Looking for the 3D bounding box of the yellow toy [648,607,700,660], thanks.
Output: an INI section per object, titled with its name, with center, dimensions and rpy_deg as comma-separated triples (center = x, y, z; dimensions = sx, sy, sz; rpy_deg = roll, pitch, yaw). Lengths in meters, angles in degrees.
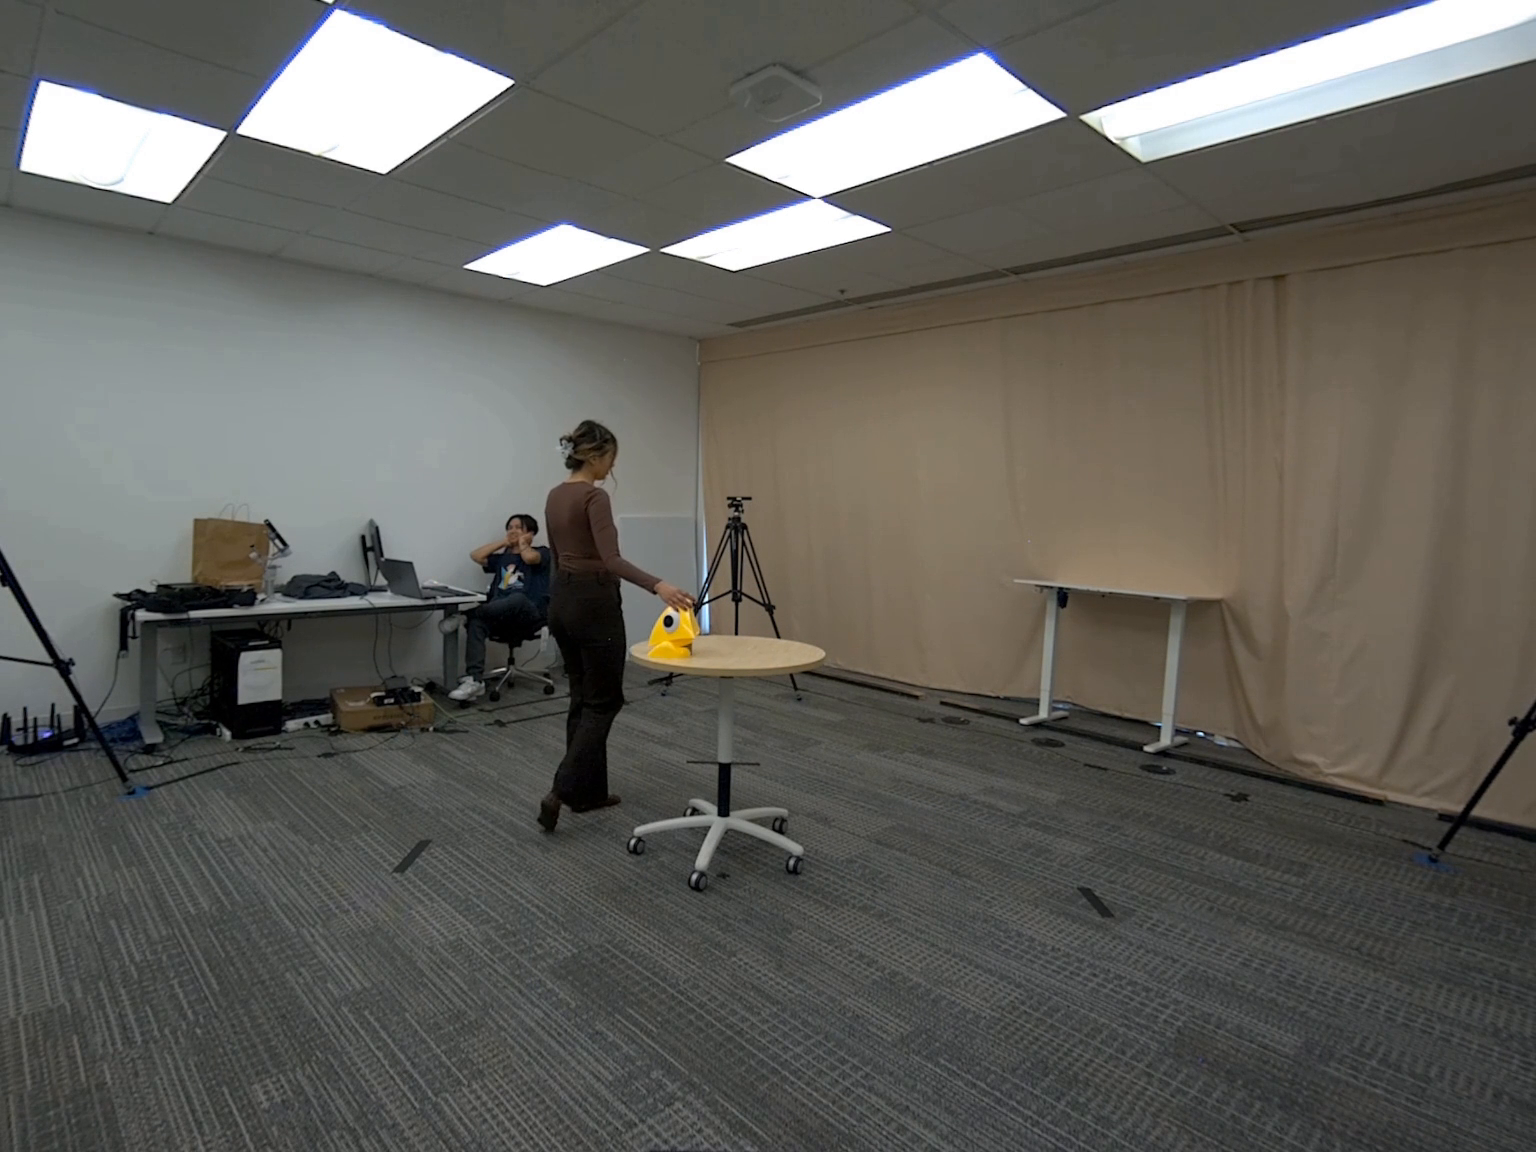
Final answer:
[yellow toy]
center = -0.360, 0.180, 3.190
dimensions = 0.193, 0.230, 0.205
rpy_deg = 3, 4, 3
